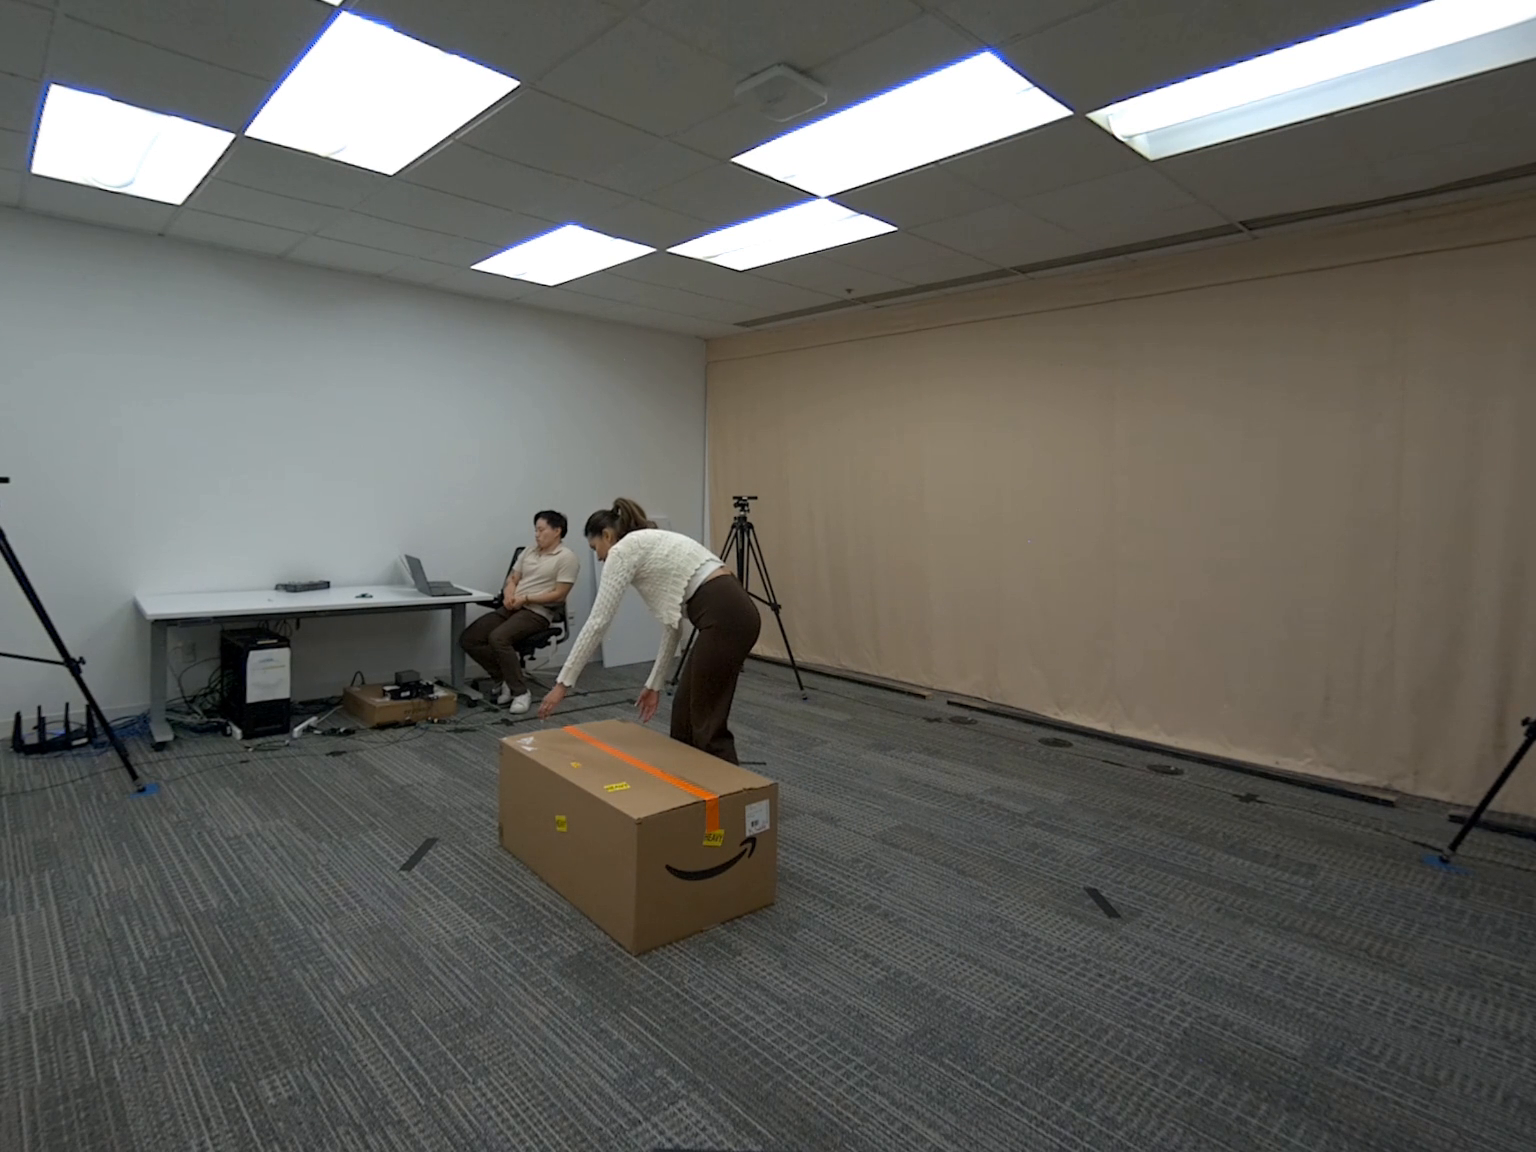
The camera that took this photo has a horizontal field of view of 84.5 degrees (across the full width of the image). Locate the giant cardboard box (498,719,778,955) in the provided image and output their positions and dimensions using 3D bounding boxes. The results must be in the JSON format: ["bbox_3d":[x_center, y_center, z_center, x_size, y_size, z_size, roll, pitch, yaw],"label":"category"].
[{"bbox_3d":[-0.520,0.881,3.092,0.564,0.425,1.052,-3,6,-40],"label":"giant cardboard box"}]
